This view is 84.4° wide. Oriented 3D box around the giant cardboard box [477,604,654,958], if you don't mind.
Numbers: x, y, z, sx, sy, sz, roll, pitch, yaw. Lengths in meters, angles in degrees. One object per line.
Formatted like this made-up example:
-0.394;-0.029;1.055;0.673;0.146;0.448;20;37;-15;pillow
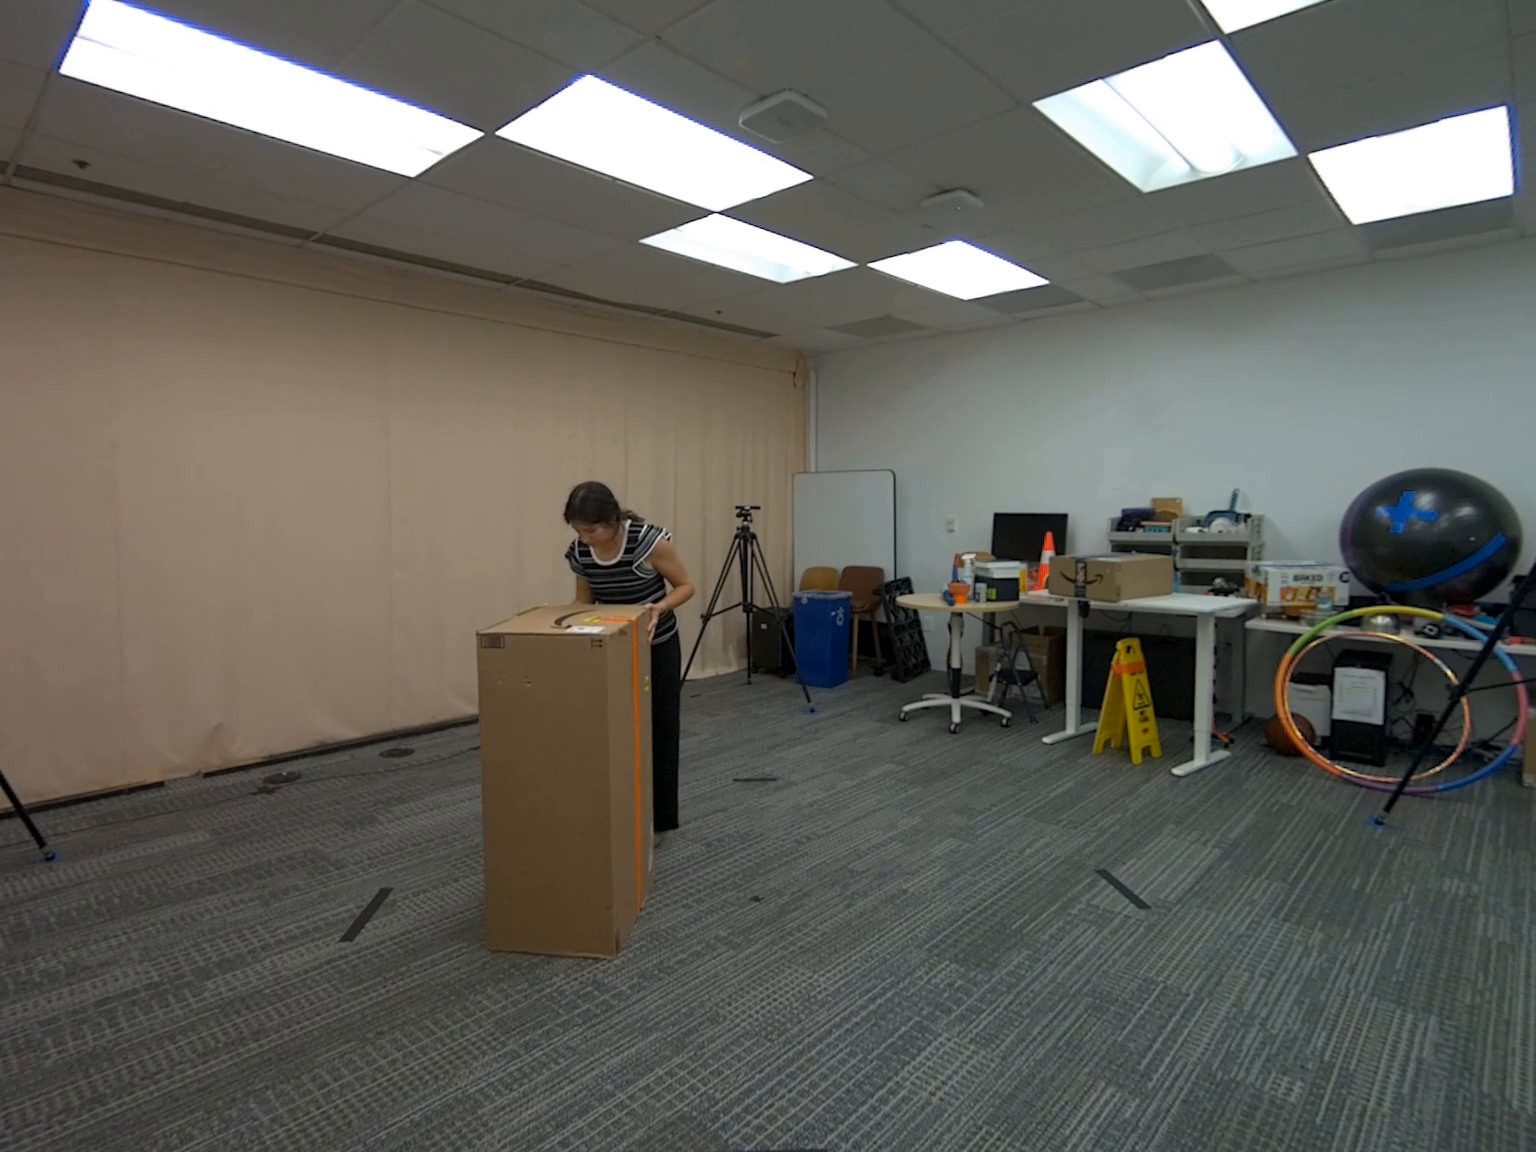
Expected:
-0.657;0.650;2.871;0.430;1.023;0.574;0;4;7;giant cardboard box
